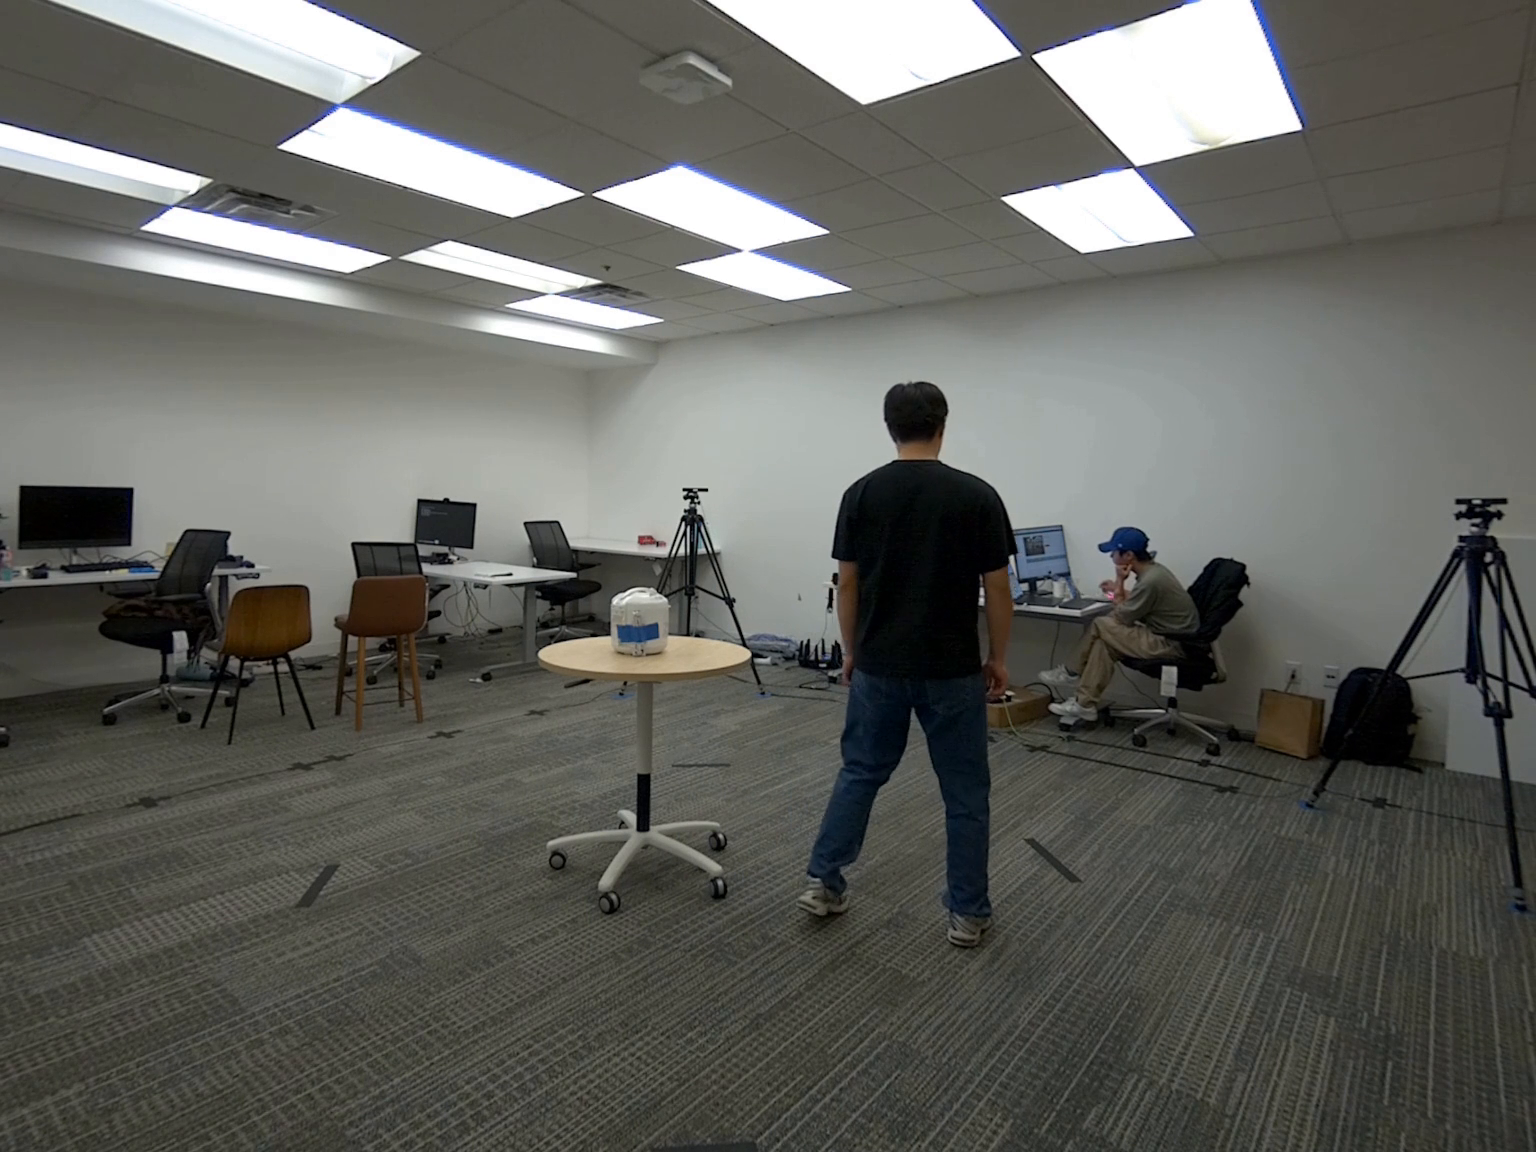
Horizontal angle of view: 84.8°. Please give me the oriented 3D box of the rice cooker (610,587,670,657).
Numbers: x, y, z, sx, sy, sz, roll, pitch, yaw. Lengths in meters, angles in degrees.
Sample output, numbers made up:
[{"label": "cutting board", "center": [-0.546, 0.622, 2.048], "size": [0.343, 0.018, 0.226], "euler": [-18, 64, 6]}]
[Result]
[{"label": "rice cooker", "center": [-0.479, 0.155, 3.087], "size": [0.225, 0.232, 0.214], "euler": [5, 5, 41]}]
